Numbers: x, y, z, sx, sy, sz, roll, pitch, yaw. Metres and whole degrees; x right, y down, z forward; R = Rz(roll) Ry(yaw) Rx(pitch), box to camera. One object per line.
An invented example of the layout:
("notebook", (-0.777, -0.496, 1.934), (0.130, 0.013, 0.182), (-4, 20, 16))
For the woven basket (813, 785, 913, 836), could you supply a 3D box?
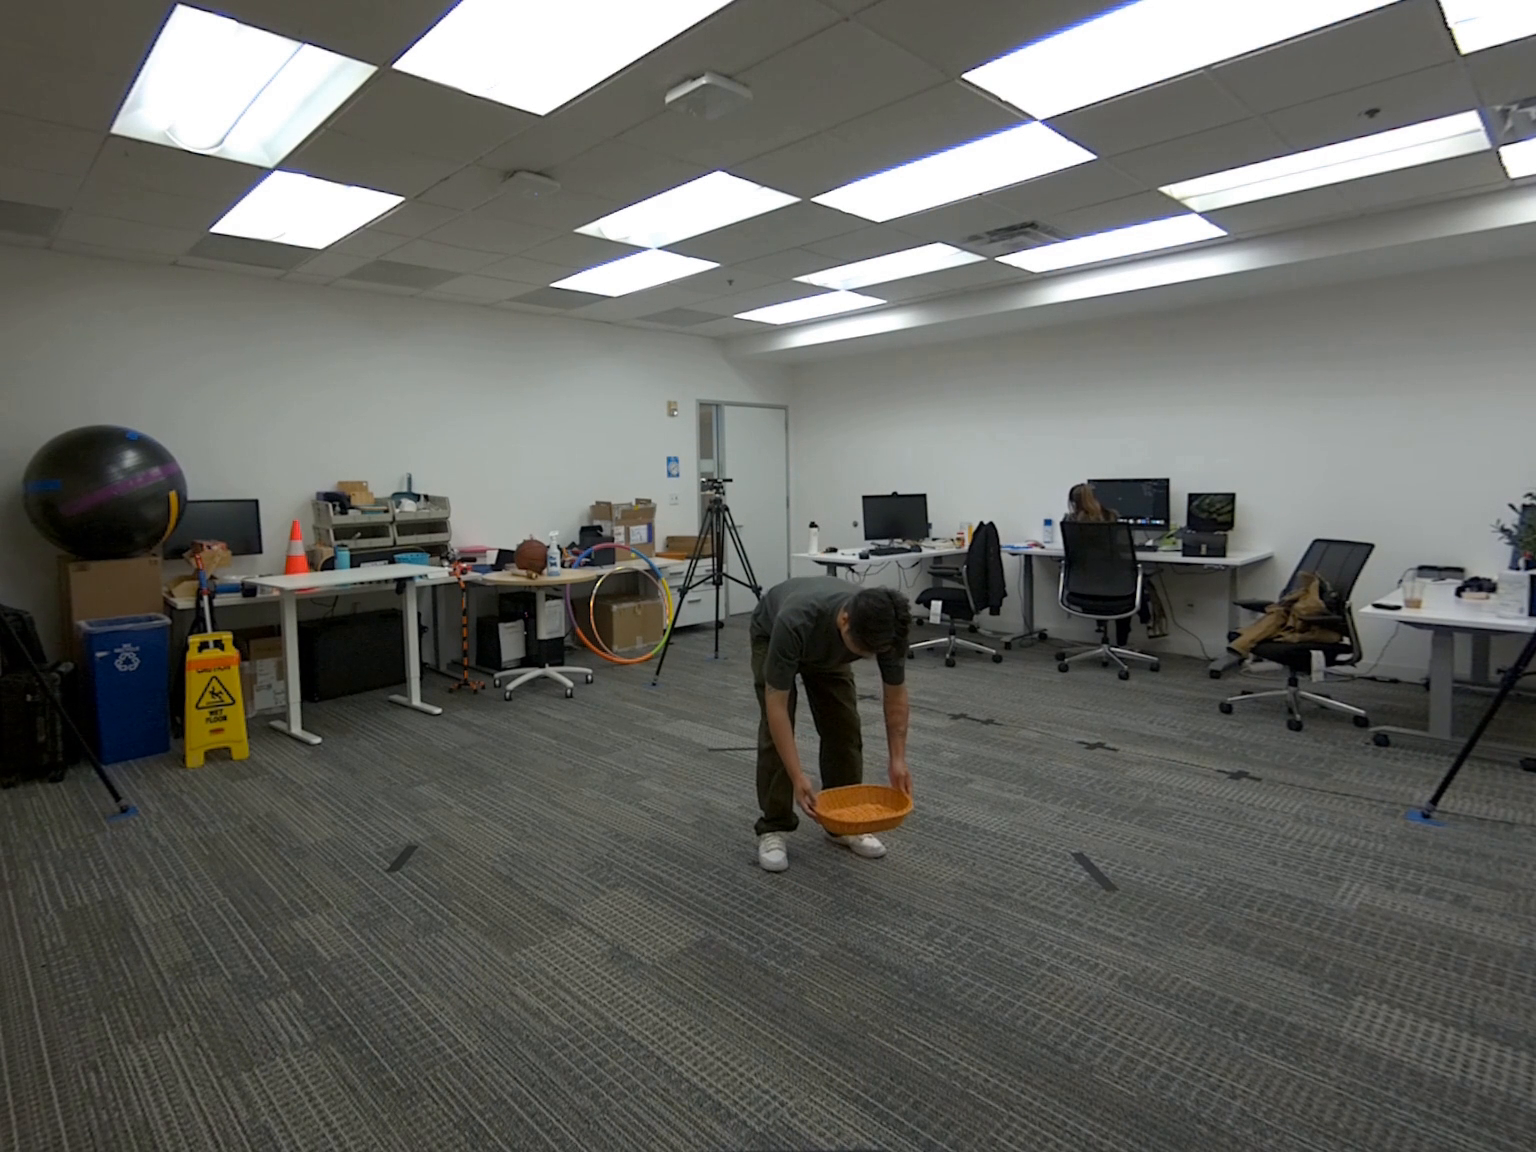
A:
("woven basket", (0.307, 0.771, 2.815), (0.344, 0.073, 0.259), (-4, 11, -20))
